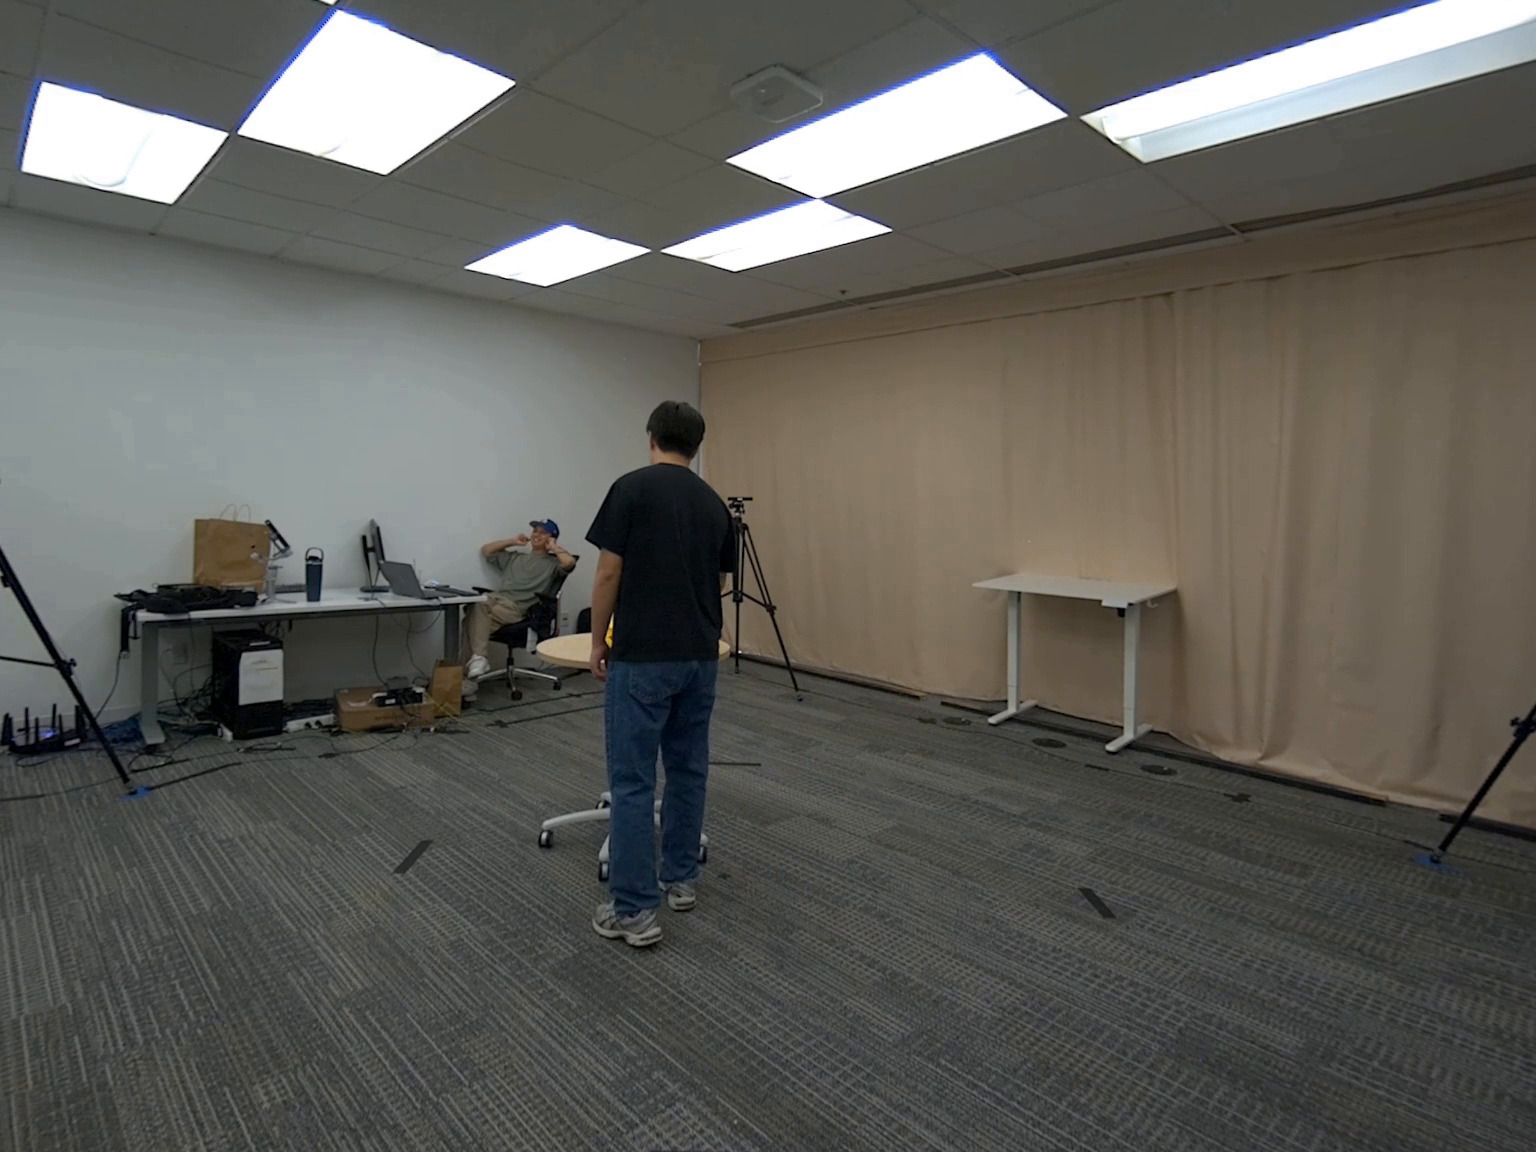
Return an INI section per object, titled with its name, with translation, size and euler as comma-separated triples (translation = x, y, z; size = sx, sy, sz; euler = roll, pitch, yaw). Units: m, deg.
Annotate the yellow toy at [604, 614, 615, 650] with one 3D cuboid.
[yellow toy]
translation = -0.574, 0.165, 3.375
size = 0.207, 0.230, 0.191
euler = 3, 3, 14
